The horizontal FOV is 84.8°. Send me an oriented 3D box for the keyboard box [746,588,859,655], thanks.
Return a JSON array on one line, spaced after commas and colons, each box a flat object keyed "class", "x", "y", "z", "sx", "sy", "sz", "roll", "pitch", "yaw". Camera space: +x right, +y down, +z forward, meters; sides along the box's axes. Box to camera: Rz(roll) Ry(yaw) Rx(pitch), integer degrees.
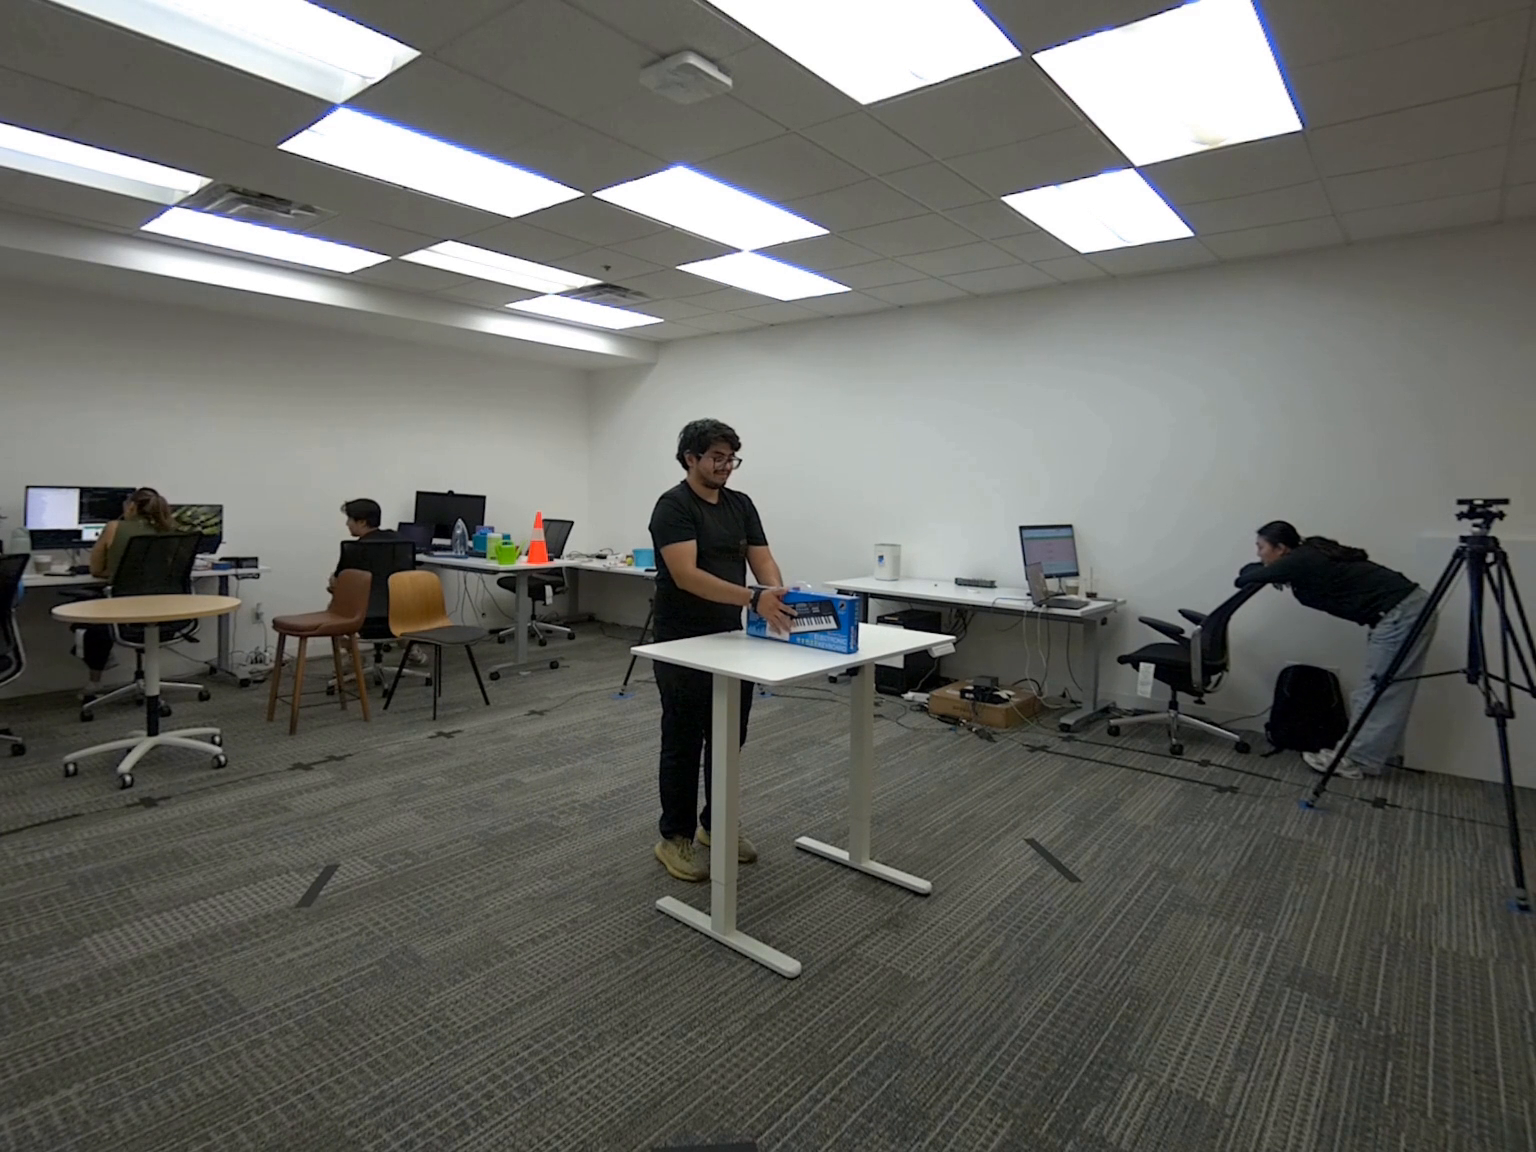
[{"class": "keyboard box", "x": 0.102, "y": 0.138, "z": 2.810, "sx": 0.452, "sy": 0.175, "sz": 0.057, "roll": 6, "pitch": 4, "yaw": 44}]
